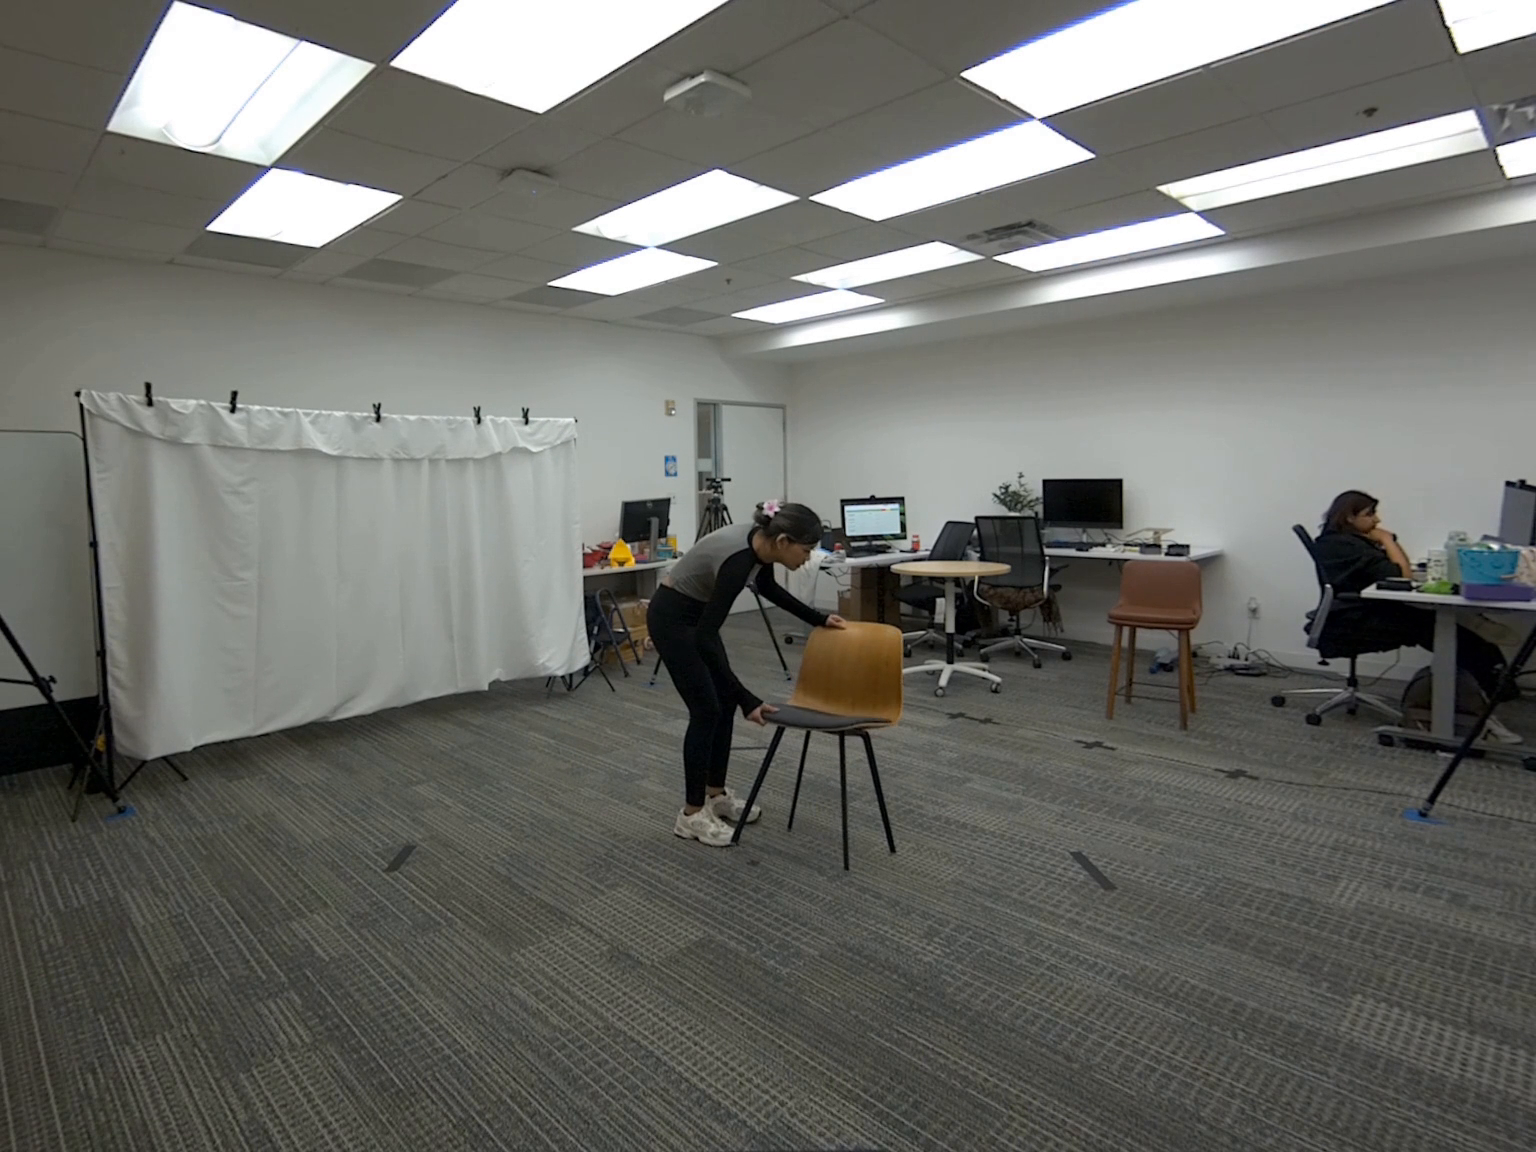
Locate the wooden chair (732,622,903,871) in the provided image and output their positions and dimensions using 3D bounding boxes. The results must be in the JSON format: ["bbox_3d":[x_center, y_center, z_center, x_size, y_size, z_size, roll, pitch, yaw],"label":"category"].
[{"bbox_3d":[0.212,0.564,3.141,0.491,0.885,0.505,1,-13,31],"label":"wooden chair"}]
